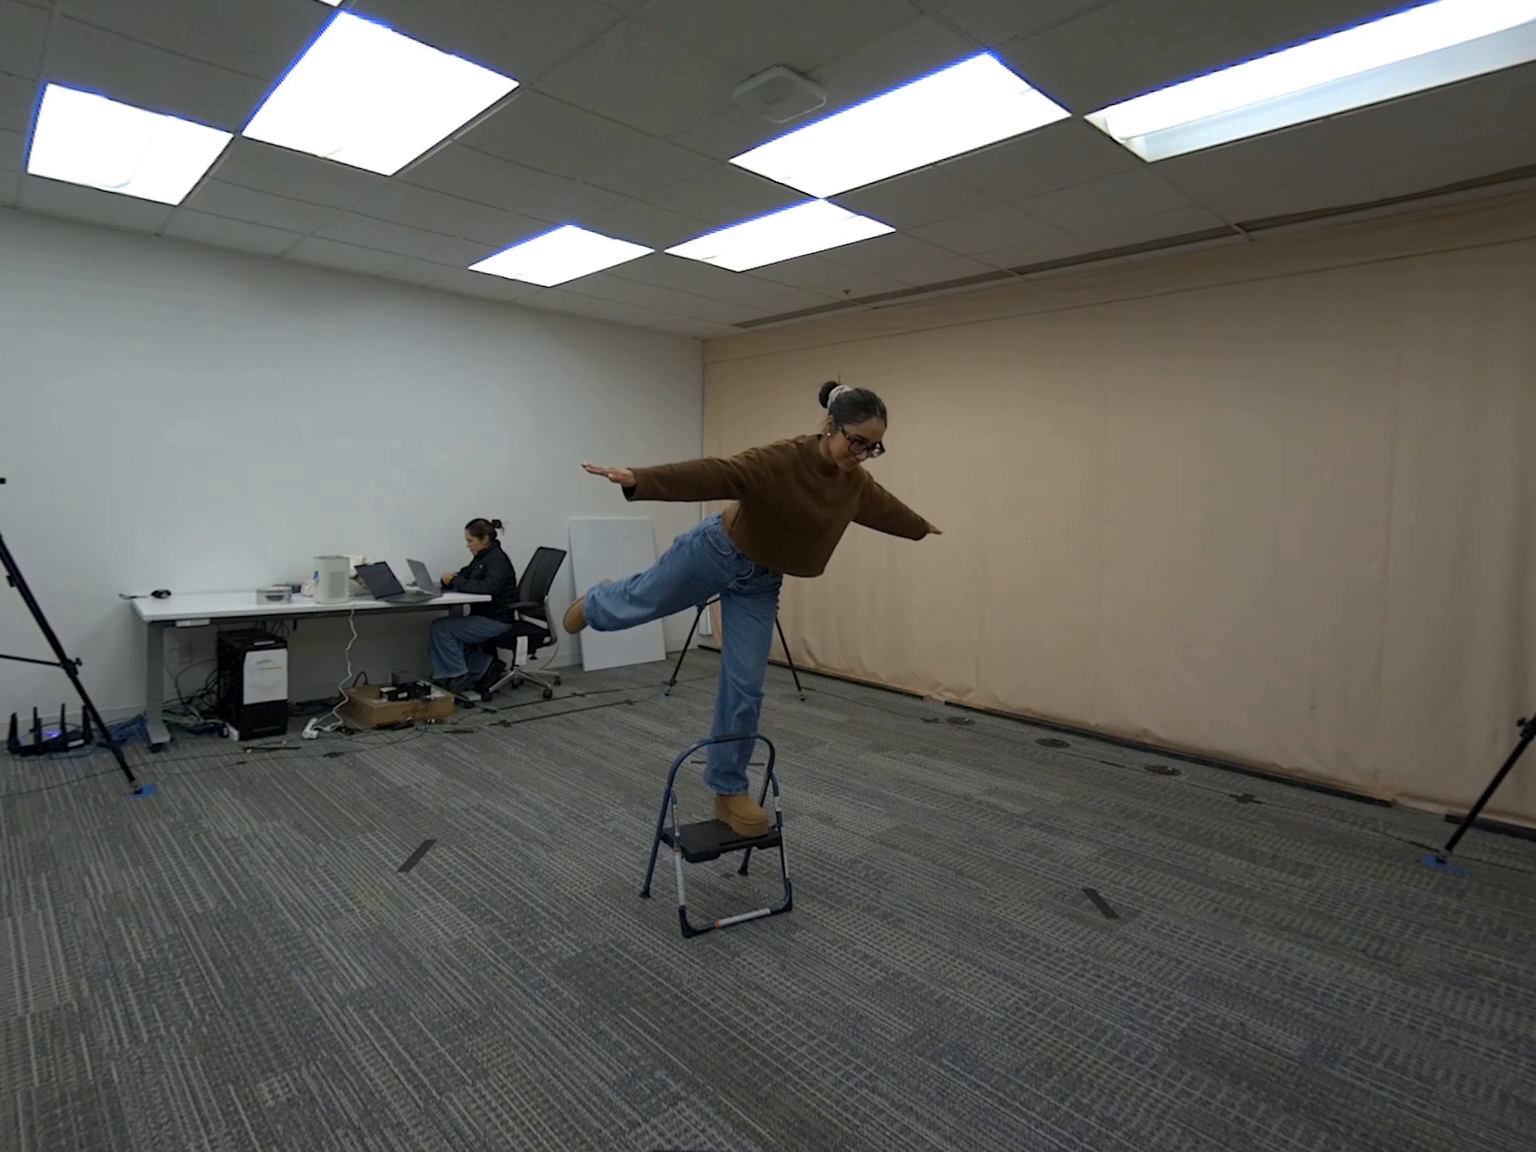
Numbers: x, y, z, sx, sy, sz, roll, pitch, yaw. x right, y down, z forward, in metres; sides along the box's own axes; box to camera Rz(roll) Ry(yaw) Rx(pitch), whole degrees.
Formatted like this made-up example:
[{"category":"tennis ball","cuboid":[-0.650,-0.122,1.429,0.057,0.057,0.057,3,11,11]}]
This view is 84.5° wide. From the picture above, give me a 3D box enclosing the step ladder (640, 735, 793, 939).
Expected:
[{"category":"step ladder","cuboid":[-0.176,0.825,2.880,0.421,0.604,0.357,-1,4,-32]}]
